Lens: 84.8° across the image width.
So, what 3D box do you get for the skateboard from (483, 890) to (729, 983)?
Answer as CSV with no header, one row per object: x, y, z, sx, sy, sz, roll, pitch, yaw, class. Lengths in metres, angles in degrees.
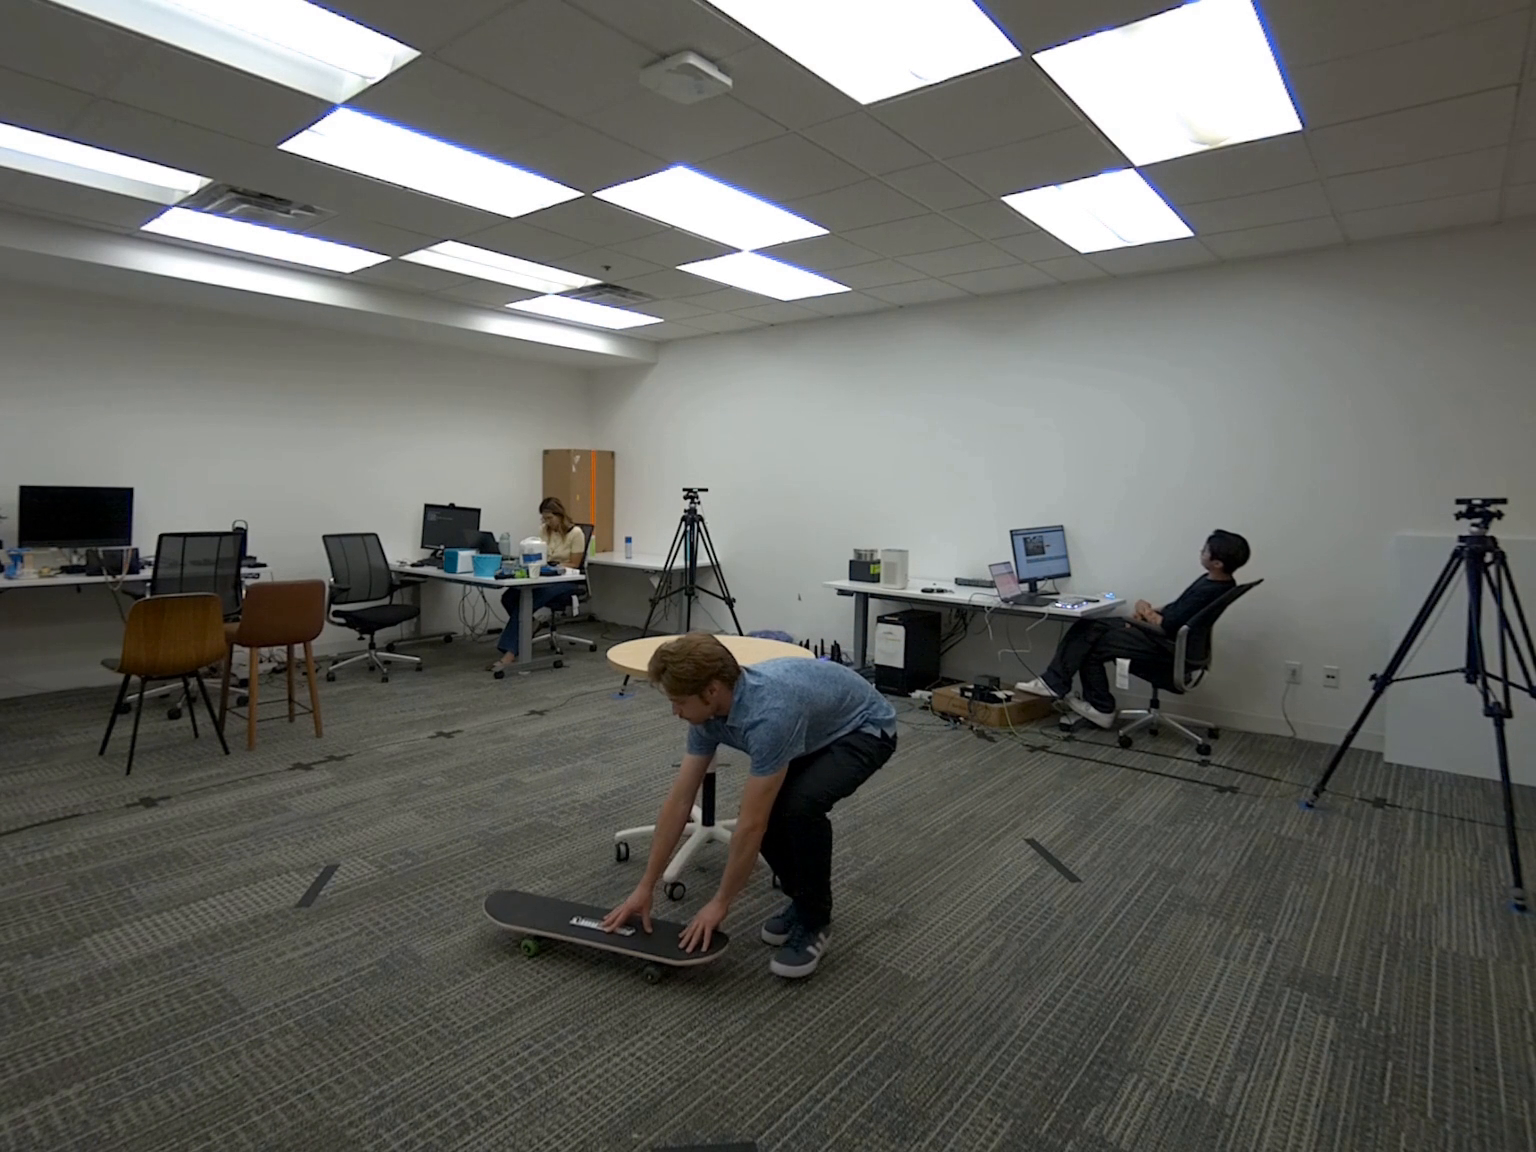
-0.502,1.072,2.517,0.802,0.110,0.190,4,6,19,skateboard
